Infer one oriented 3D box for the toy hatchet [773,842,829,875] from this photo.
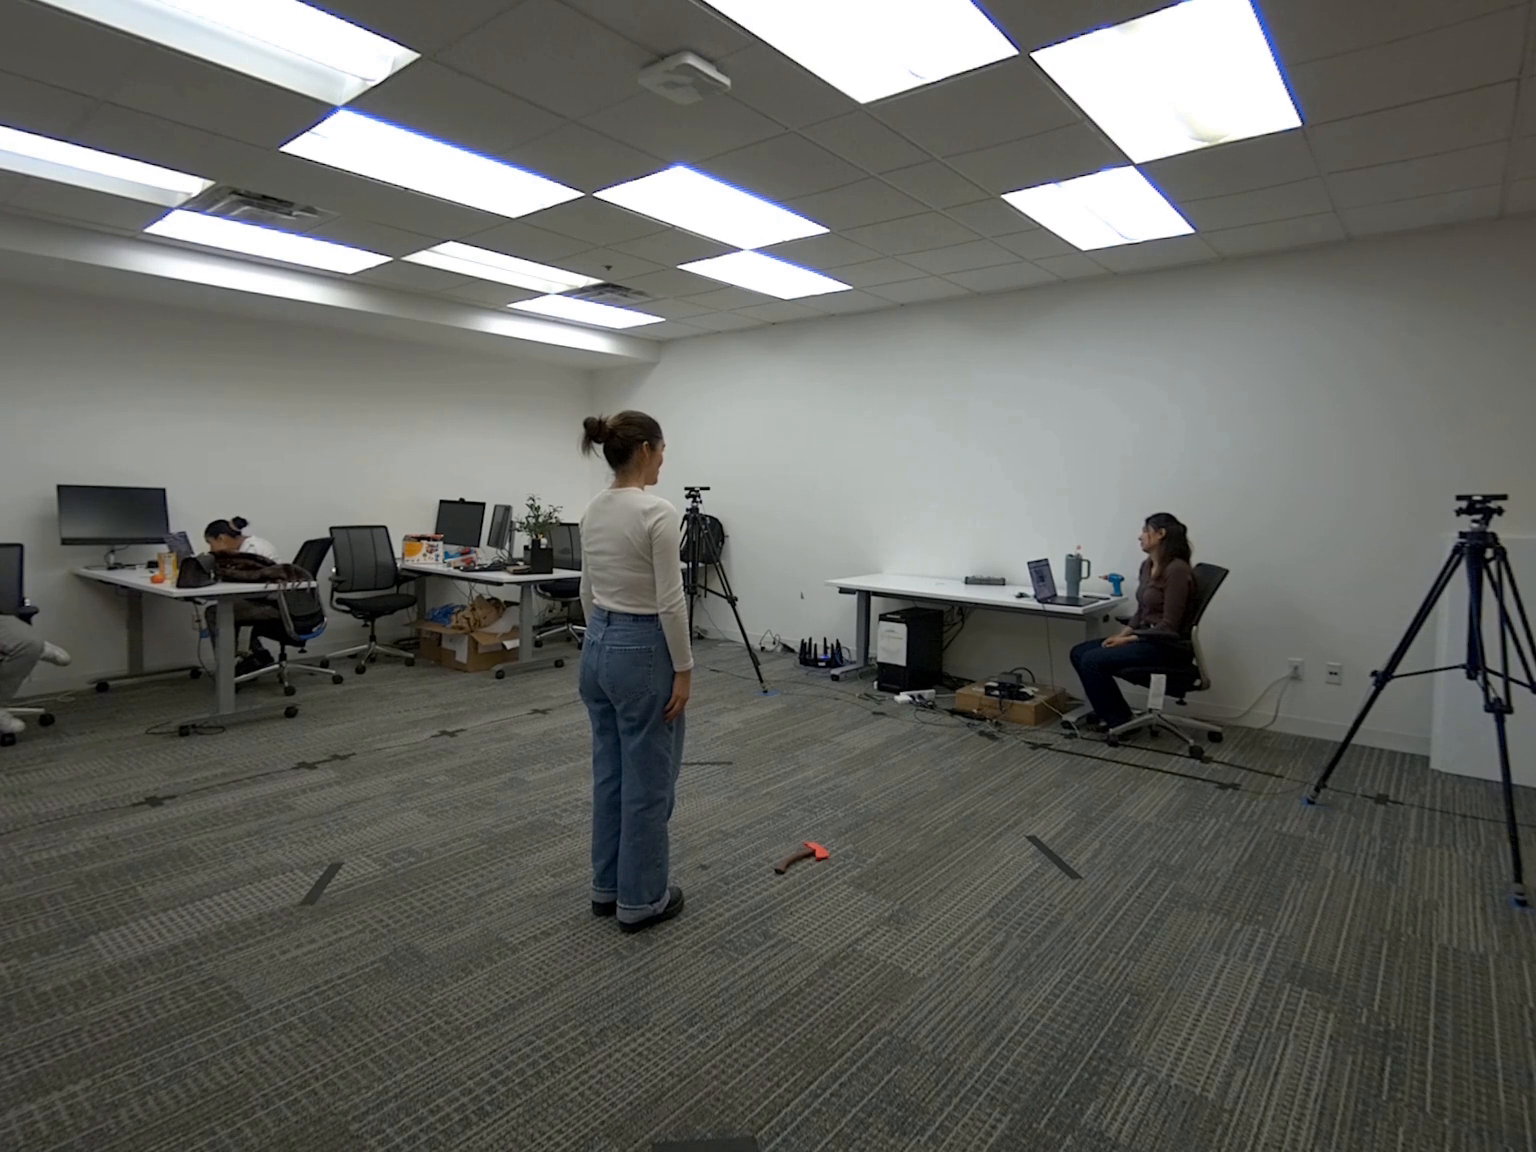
[{"bbox_3d":[0.131,1.053,3.165,0.135,0.029,0.264,8,10,28],"label":"toy hatchet"}]
